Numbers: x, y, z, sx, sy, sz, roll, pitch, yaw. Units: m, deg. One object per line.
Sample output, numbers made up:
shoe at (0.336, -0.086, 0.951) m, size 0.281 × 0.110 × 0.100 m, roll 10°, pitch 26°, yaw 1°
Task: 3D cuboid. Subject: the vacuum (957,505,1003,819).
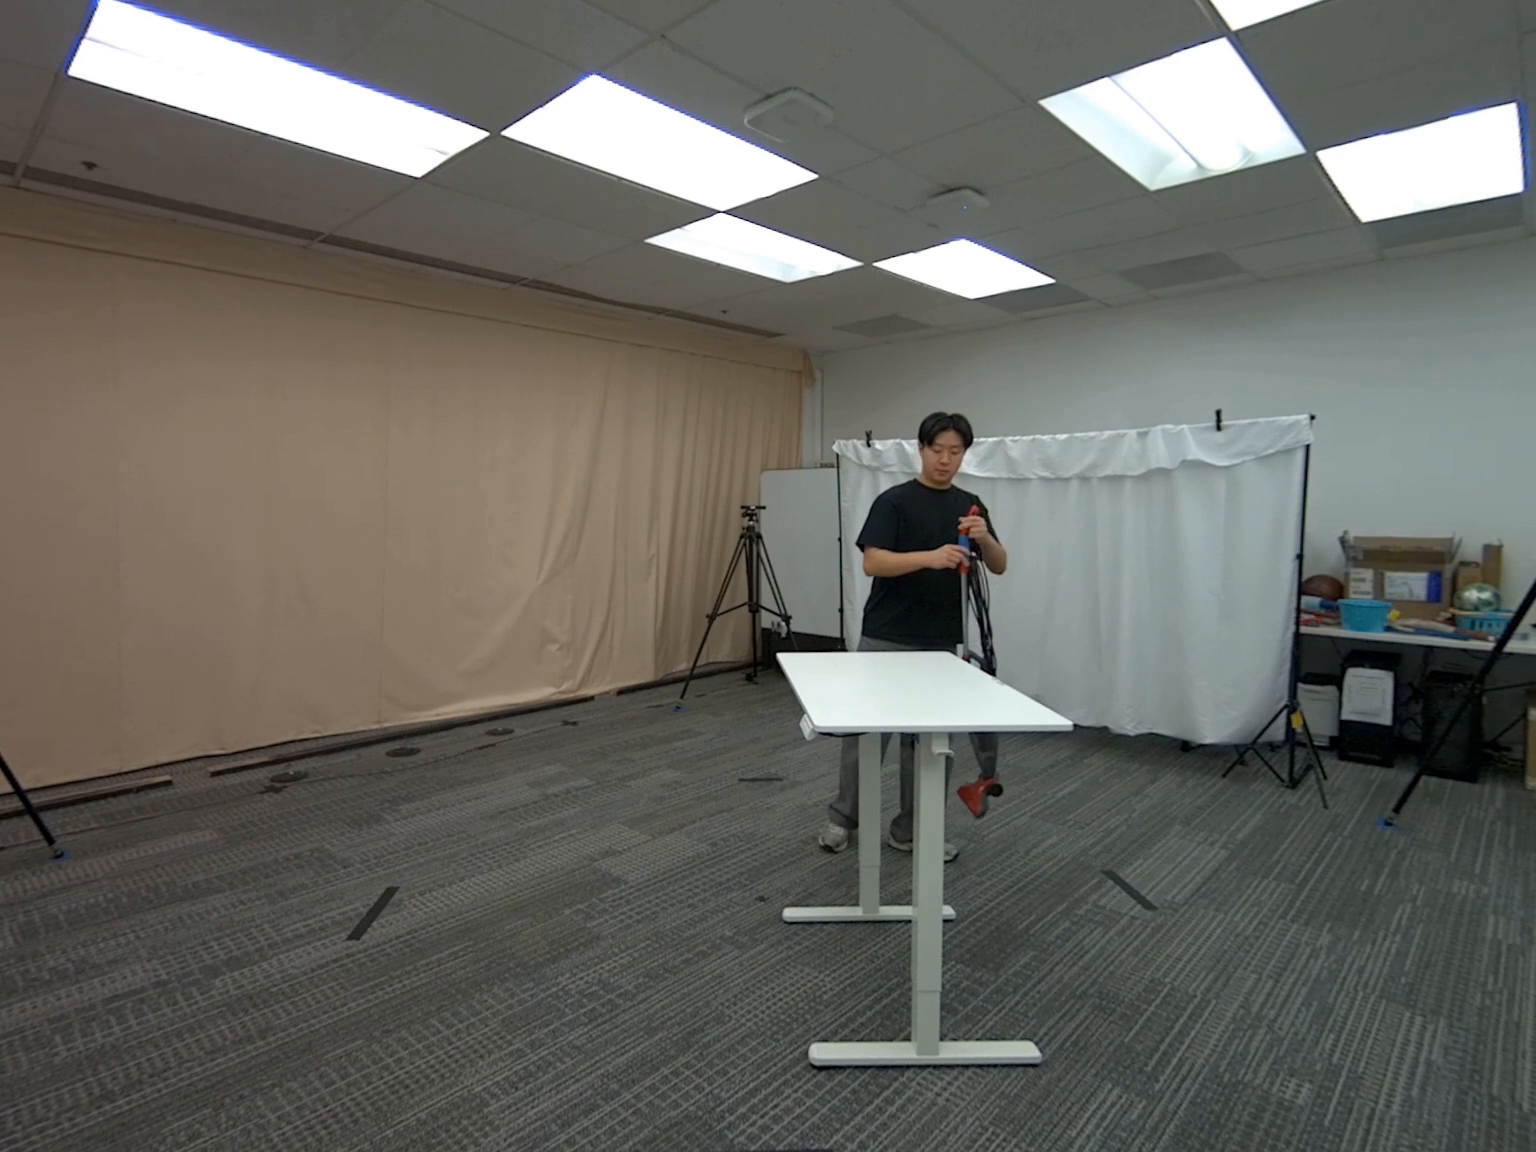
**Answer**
vacuum at (0.764, 0.286, 3.066) m, size 0.144 × 1.047 × 0.253 m, roll -1°, pitch 3°, yaw -3°
